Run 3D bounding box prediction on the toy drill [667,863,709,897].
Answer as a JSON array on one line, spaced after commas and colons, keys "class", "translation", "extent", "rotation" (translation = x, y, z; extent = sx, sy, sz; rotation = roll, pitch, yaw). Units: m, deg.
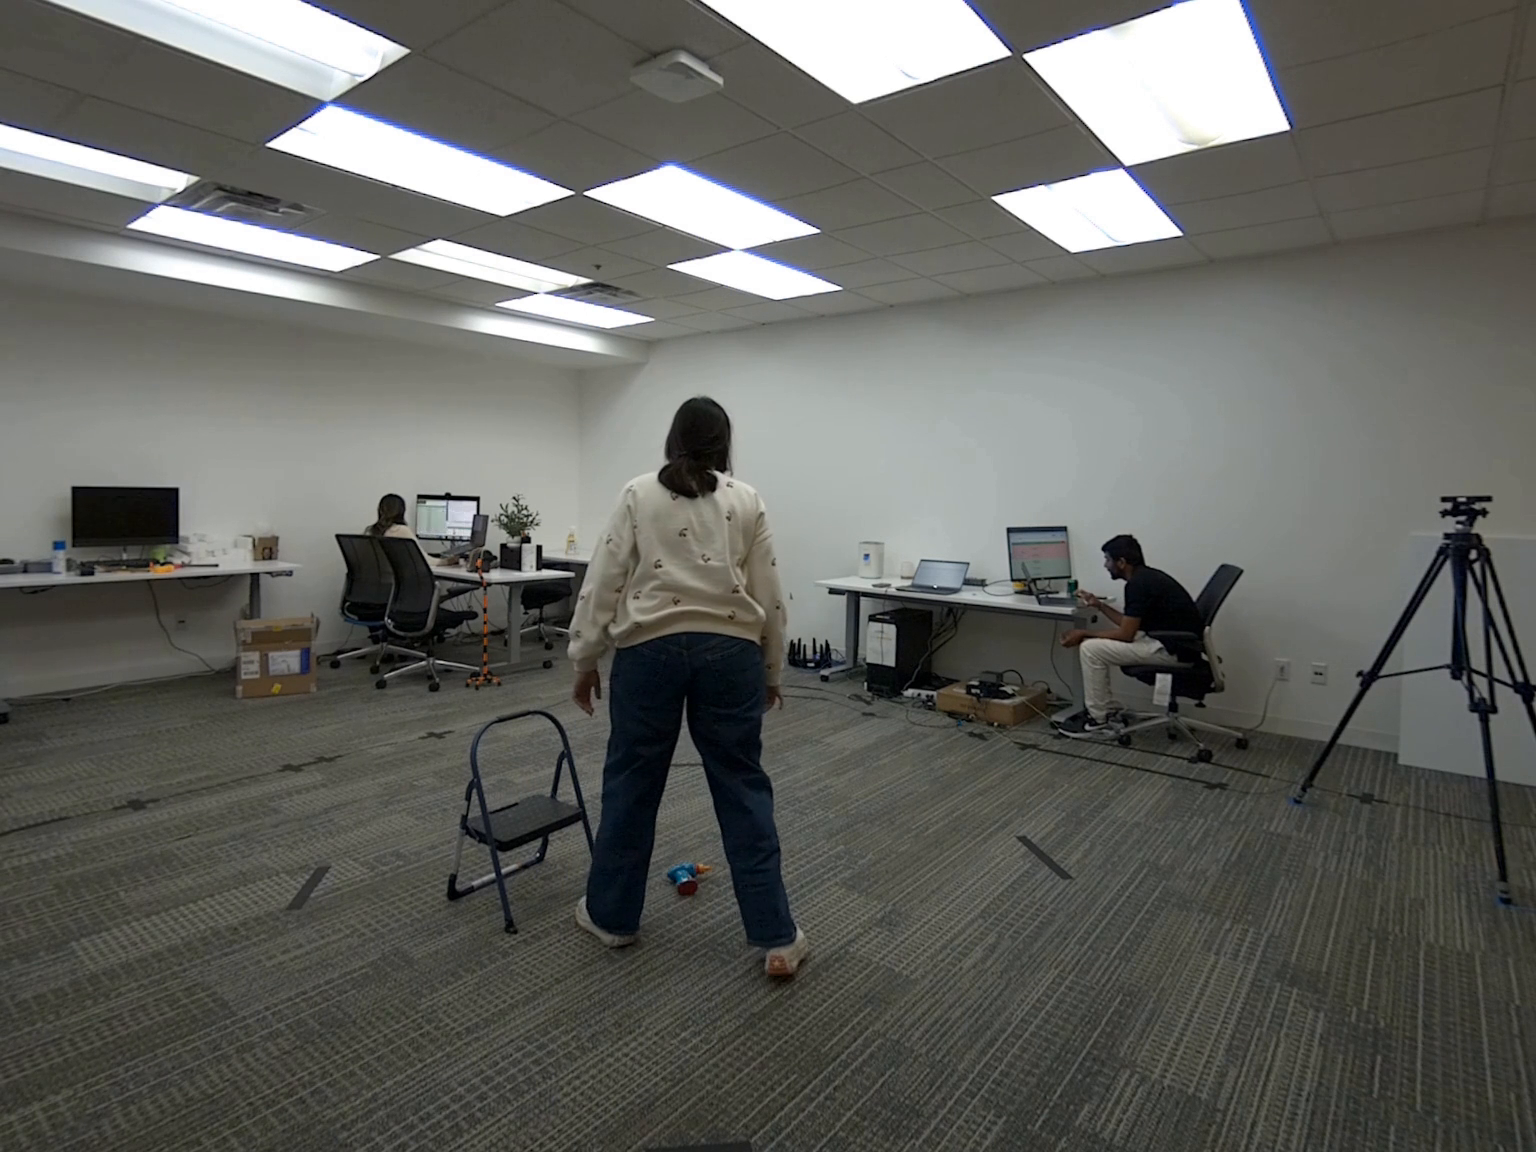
[{"class": "toy drill", "translation": [-0.276, 1.057, 2.963], "extent": [0.167, 0.061, 0.149], "rotation": [-2, 7, -17]}]
